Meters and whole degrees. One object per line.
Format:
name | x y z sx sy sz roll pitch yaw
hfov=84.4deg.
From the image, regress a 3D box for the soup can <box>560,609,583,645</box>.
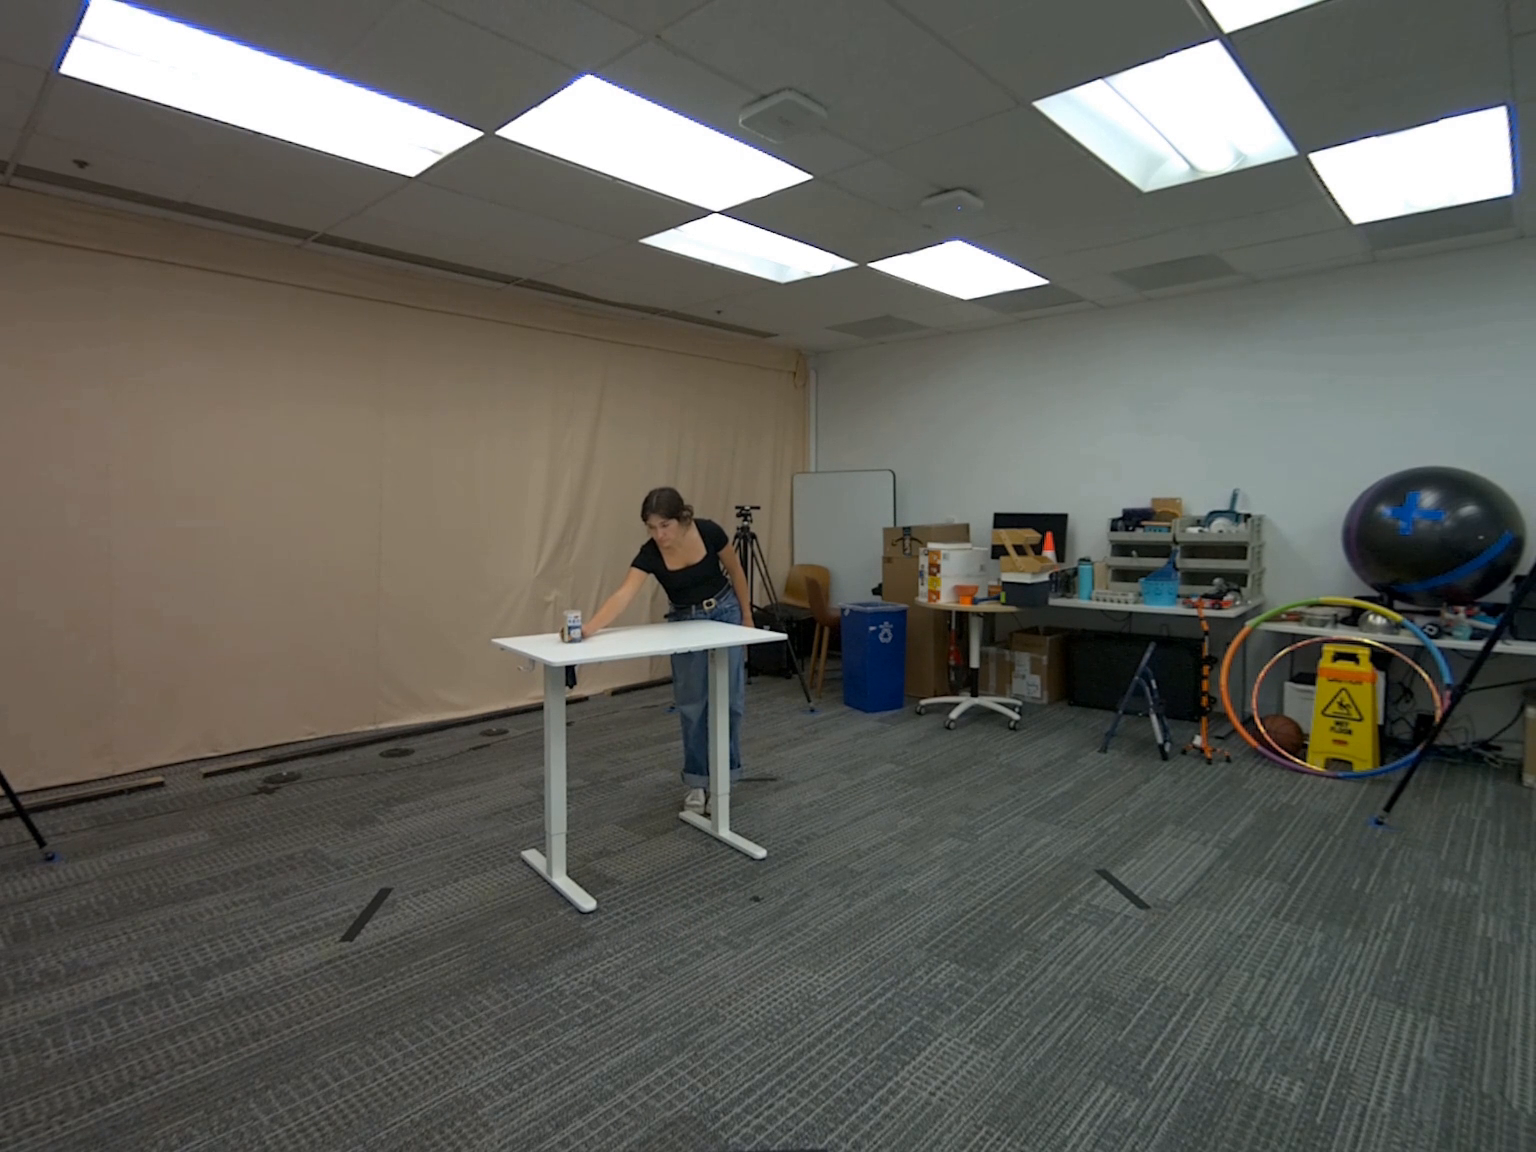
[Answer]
soup can | -0.737 0.187 3.173 0.067 0.121 0.067 1 3 -2
